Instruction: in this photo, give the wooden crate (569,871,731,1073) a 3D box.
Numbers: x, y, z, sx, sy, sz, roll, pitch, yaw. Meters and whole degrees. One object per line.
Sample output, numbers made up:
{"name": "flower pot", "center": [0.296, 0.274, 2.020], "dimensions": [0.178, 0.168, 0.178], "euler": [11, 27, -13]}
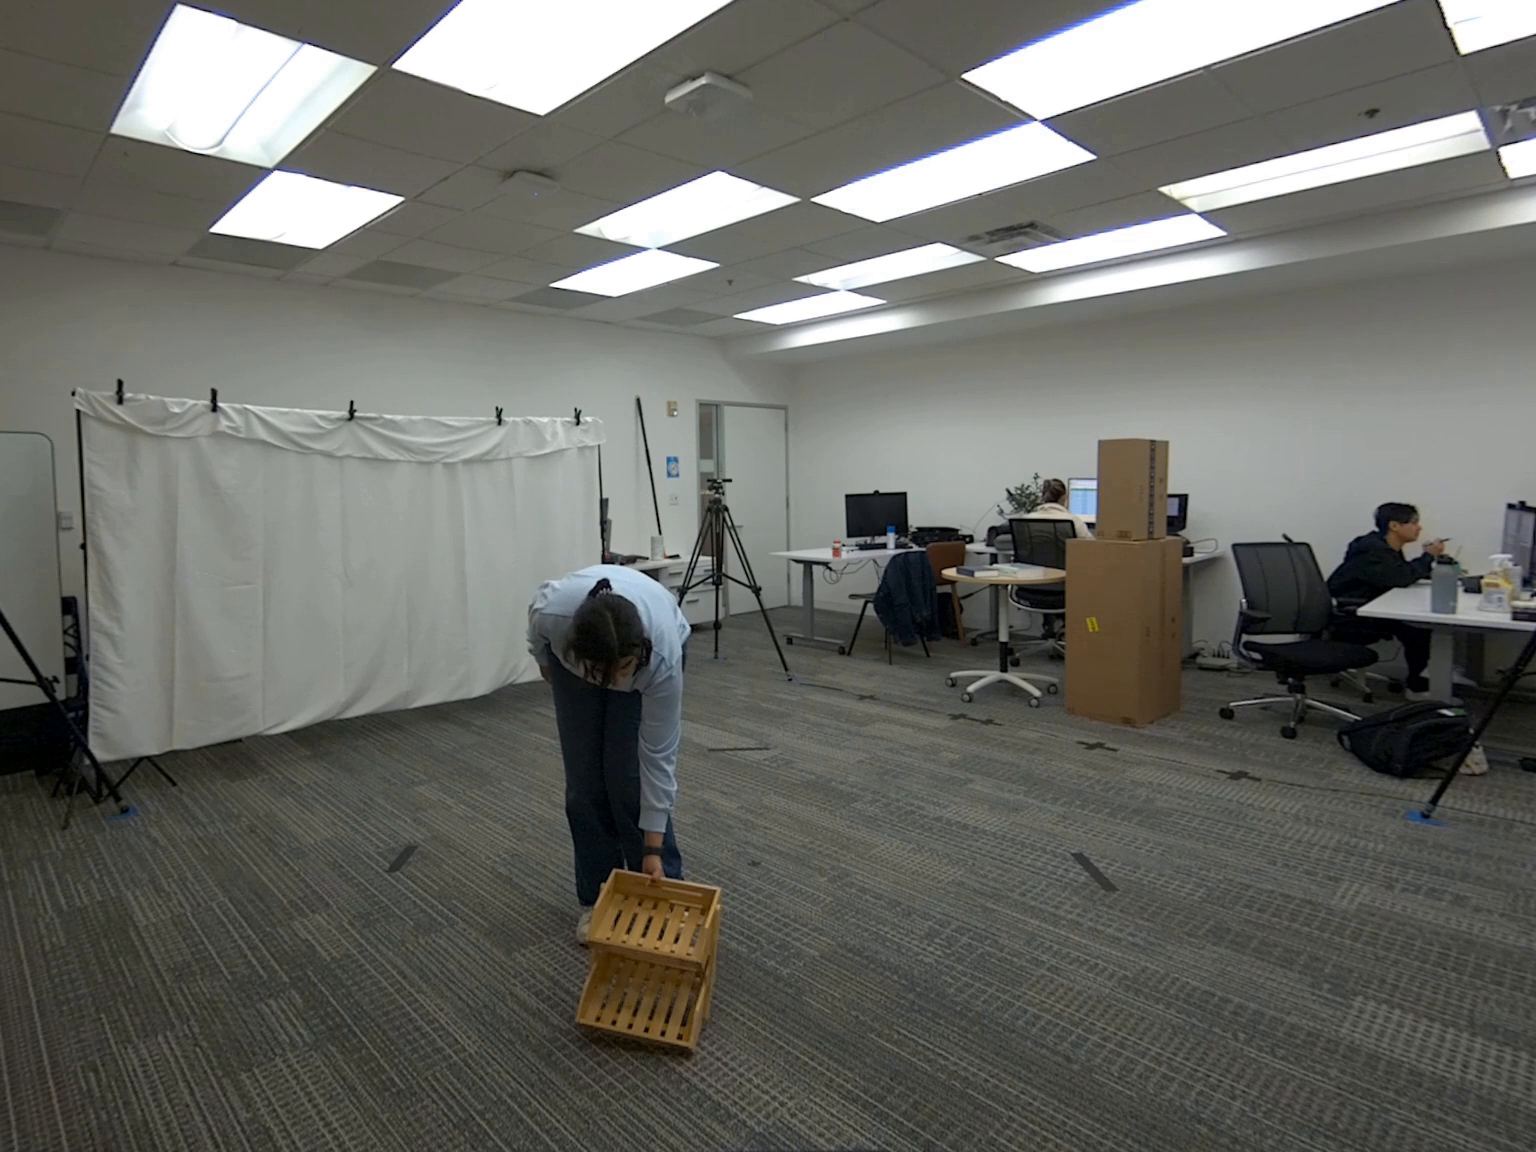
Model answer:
{"name": "wooden crate", "center": [-0.290, 0.989, 2.178], "dimensions": [0.329, 0.269, 0.302], "euler": [5, 17, 12]}
